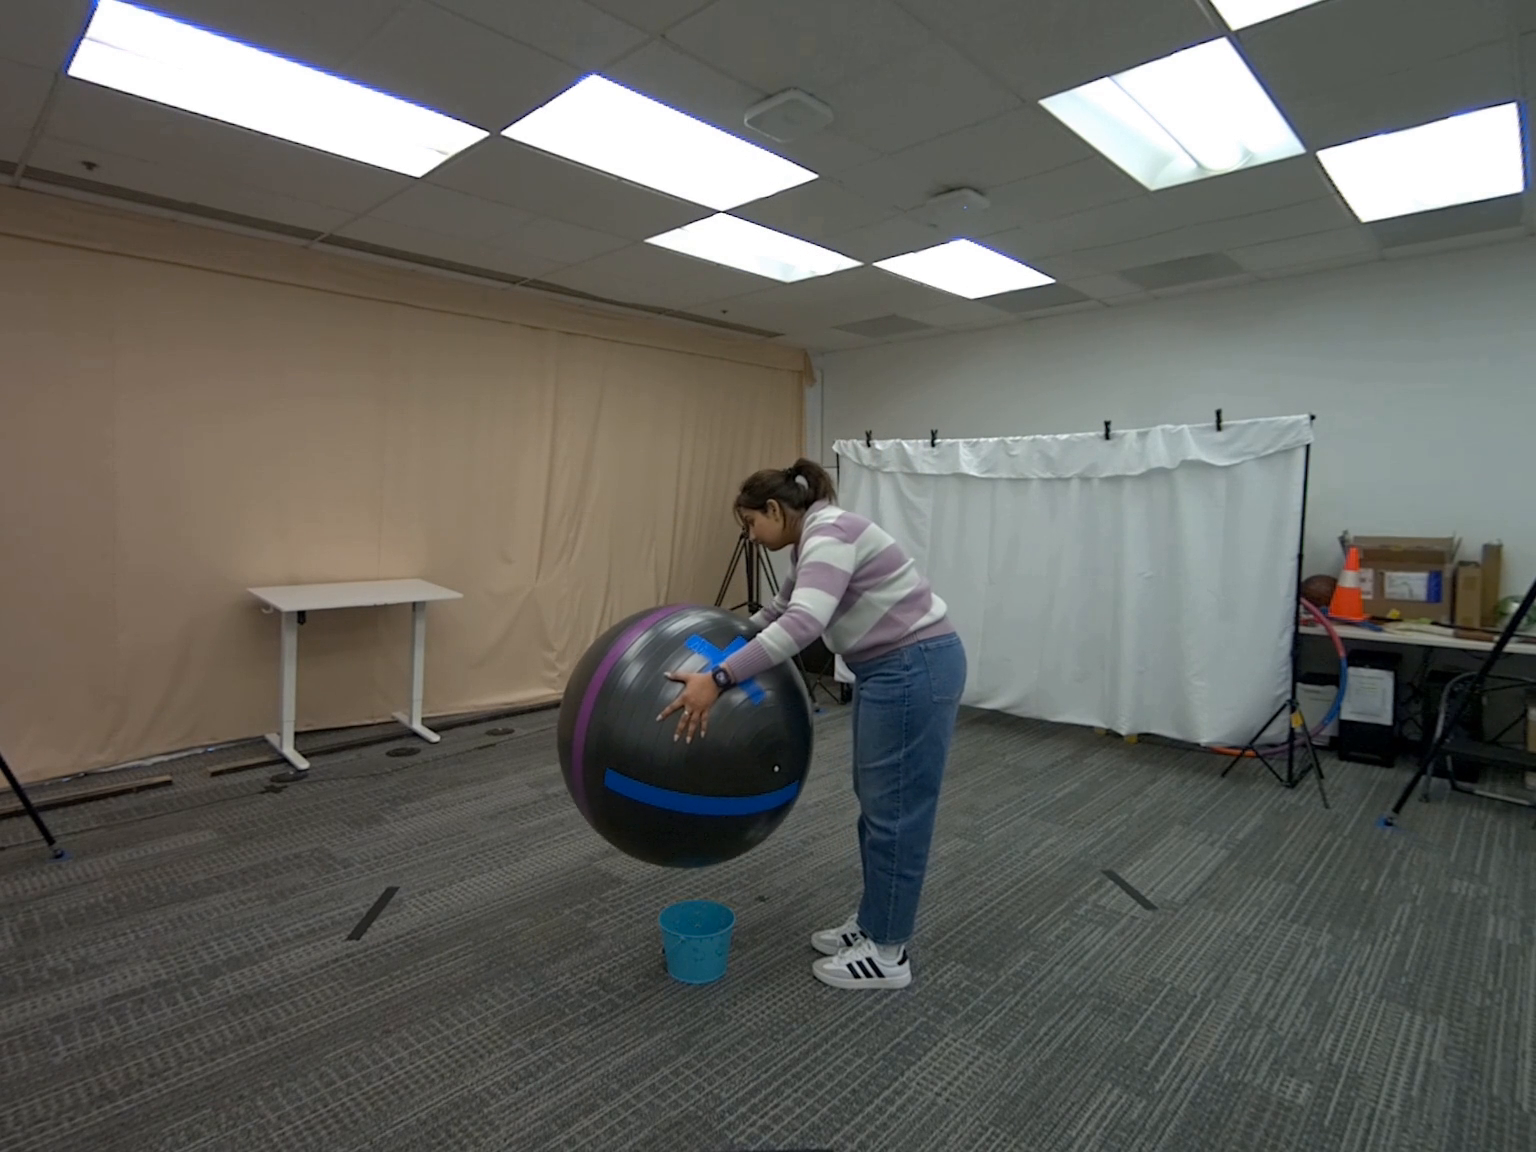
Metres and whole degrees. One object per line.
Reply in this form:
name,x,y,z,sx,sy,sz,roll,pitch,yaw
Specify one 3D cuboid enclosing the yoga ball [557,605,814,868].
yoga ball,-0.243,0.467,2.498,0.757,0.756,0.761,0,4,-2
